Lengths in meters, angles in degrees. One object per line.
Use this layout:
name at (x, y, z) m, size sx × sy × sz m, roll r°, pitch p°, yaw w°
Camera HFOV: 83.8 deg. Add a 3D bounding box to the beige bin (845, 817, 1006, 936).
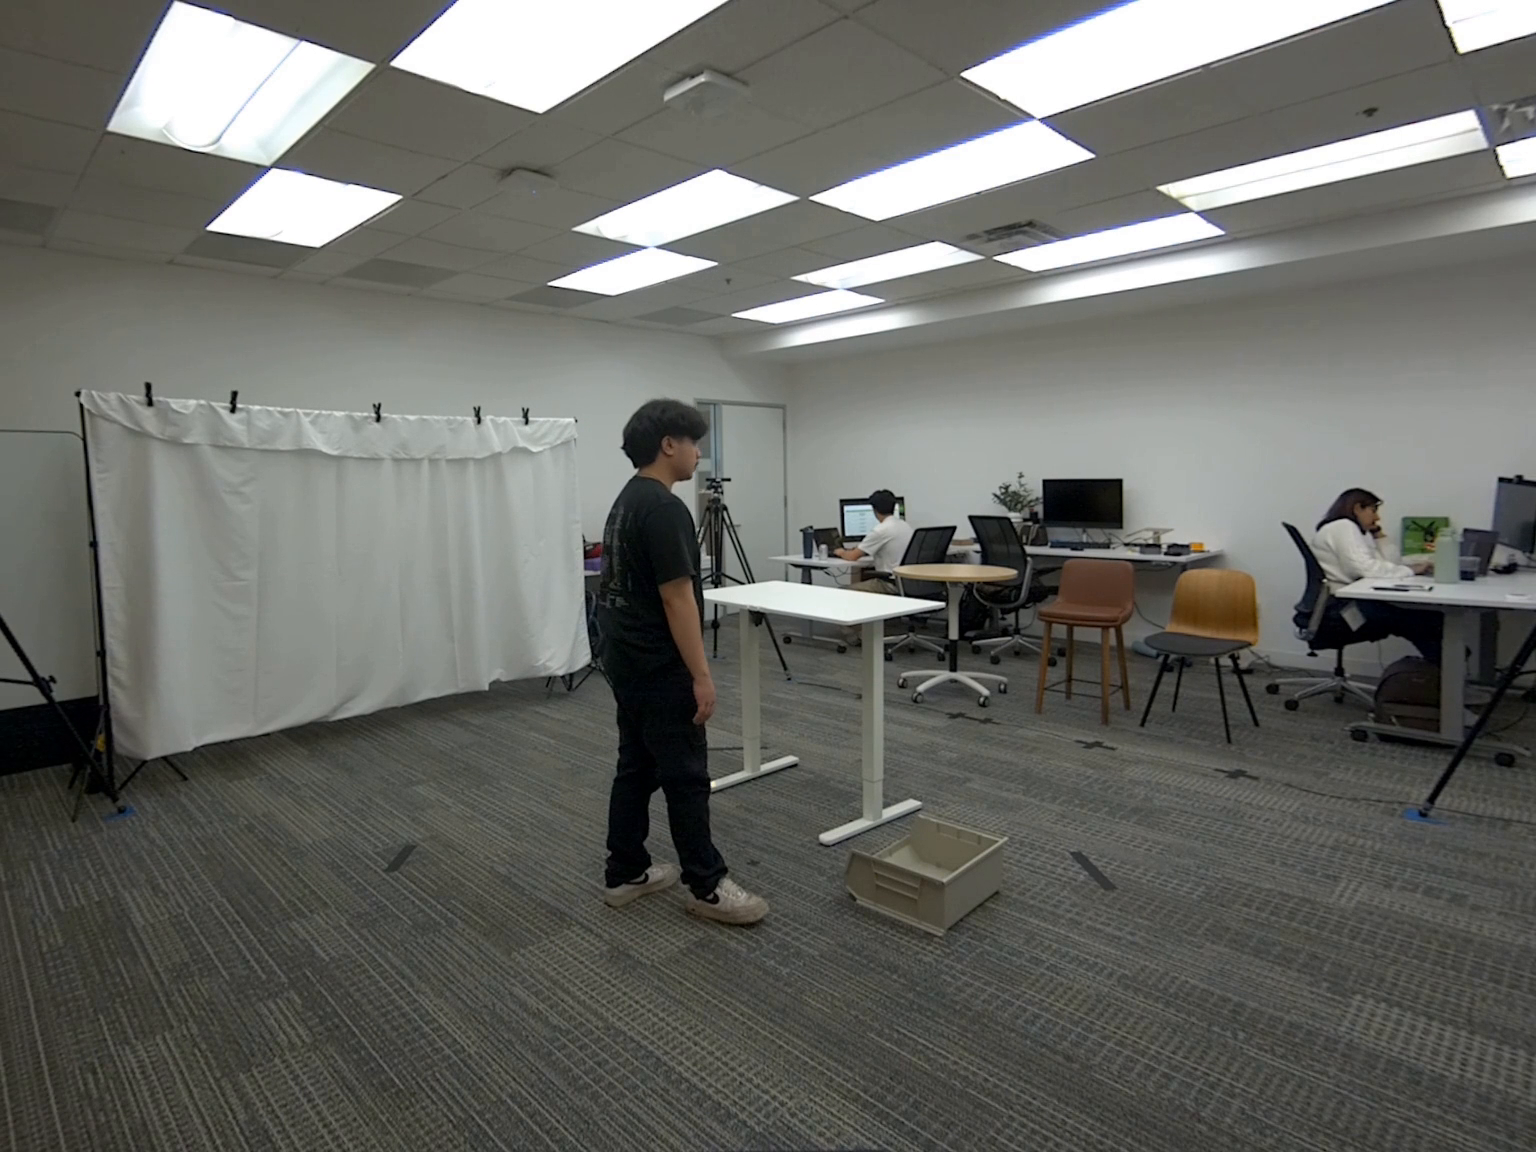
beige bin at (0.529, 0.974, 2.841) m, size 0.389 × 0.188 × 0.411 m, roll 5°, pitch 8°, yaw 42°
